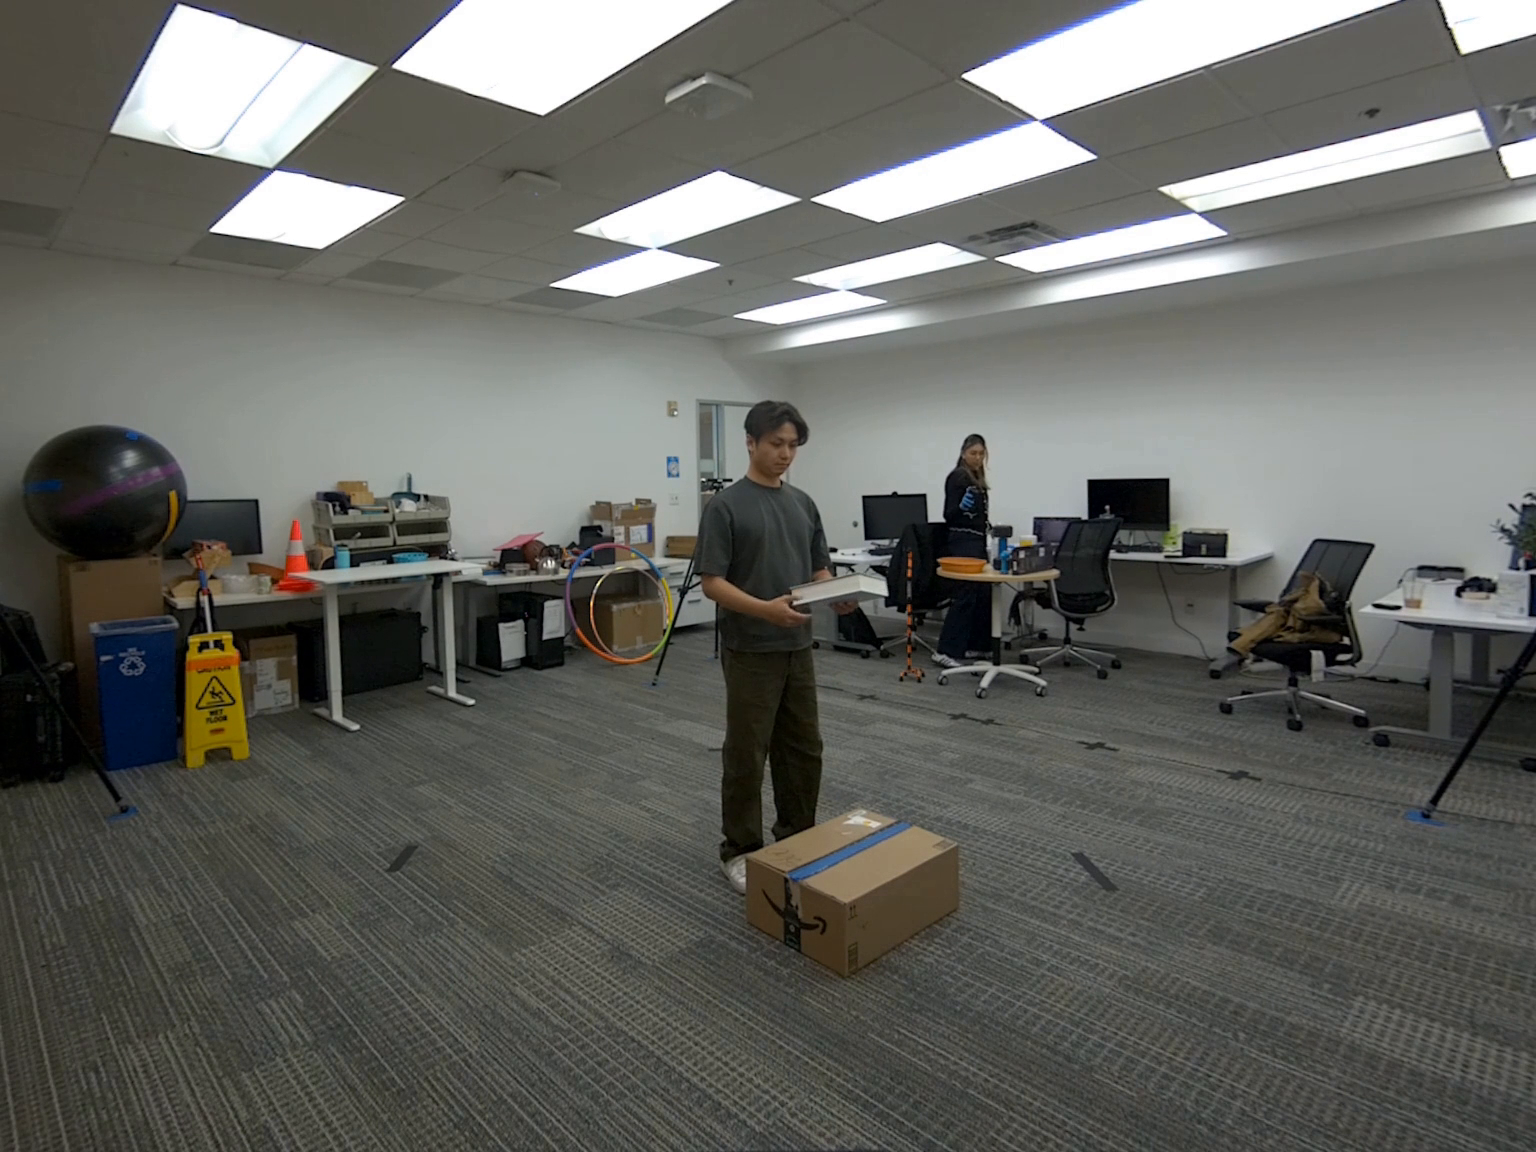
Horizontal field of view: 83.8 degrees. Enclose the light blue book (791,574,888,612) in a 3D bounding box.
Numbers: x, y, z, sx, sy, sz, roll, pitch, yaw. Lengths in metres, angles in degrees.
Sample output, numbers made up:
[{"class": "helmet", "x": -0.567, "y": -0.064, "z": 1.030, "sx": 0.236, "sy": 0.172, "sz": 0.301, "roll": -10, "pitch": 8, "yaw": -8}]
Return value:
[{"class": "light blue book", "x": 0.231, "y": 0.055, "z": 2.815, "sx": 0.266, "sy": 0.060, "sz": 0.185, "roll": -15, "pitch": -15, "yaw": 35}]
